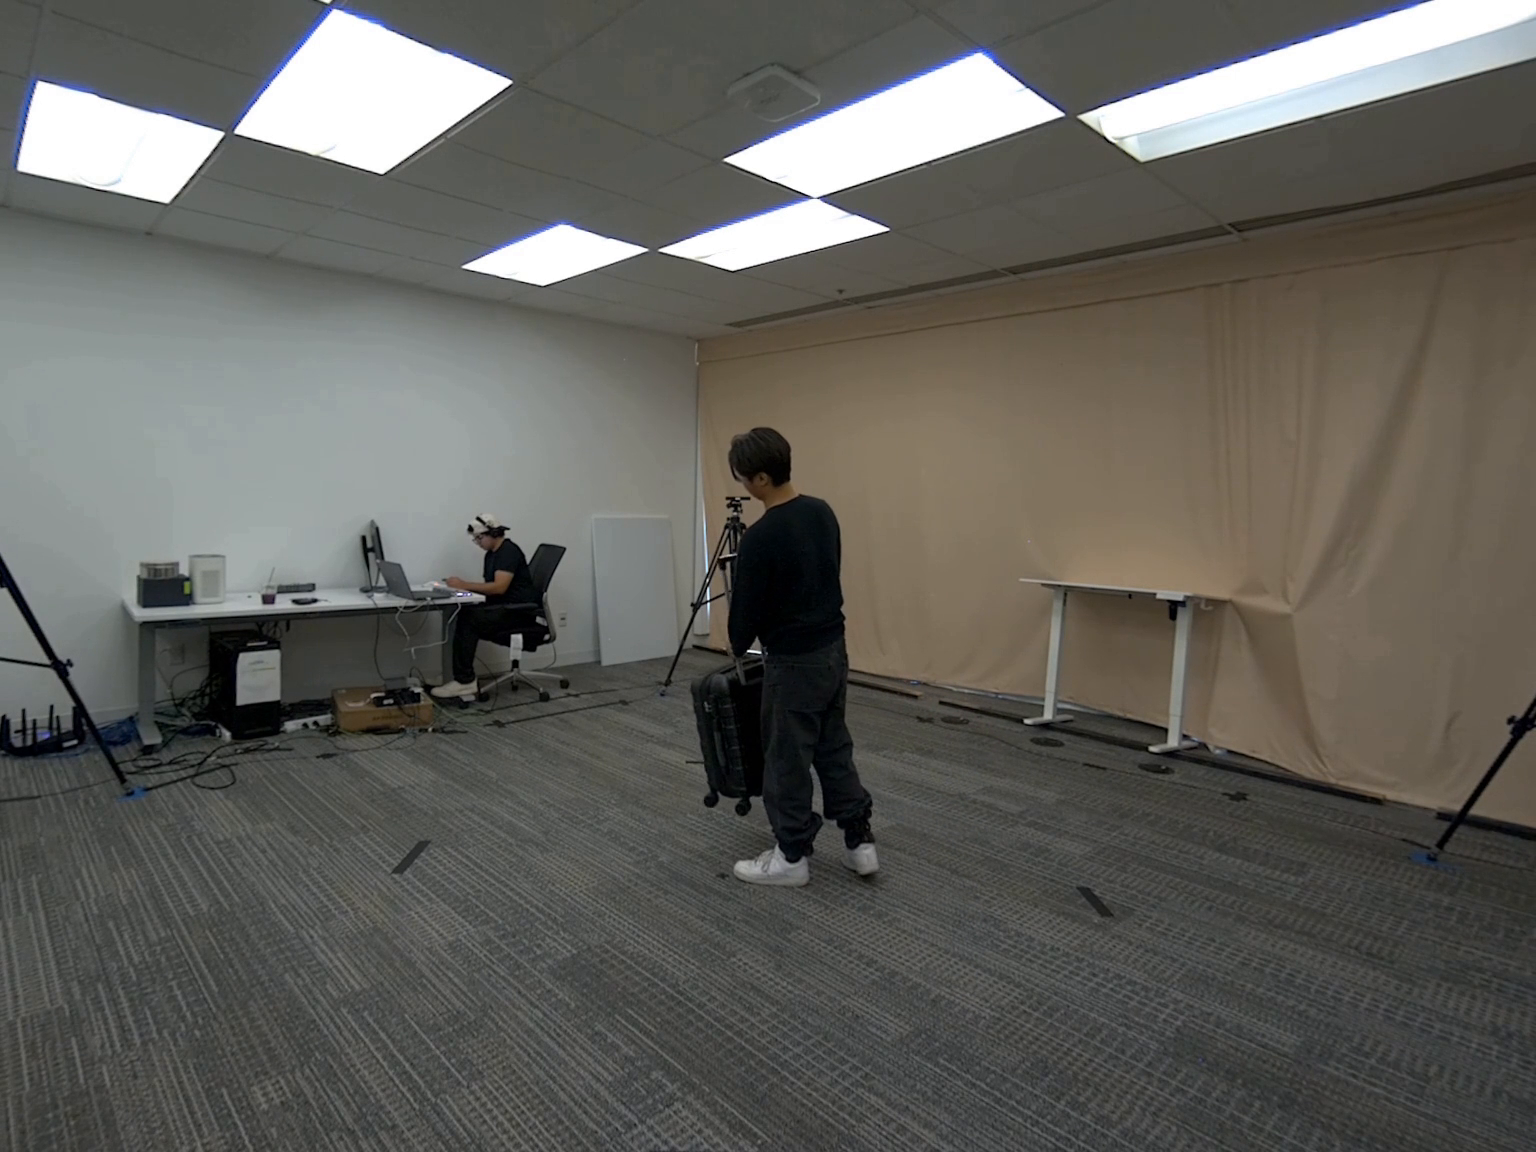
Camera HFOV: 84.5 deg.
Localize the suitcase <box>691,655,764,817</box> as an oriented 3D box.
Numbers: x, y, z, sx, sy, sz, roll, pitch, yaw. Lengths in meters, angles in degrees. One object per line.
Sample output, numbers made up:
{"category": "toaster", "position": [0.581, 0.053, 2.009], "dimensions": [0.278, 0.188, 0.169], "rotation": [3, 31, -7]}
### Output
{"category": "suitcase", "position": [-0.133, 0.420, 3.377], "dimensions": [0.377, 0.977, 0.262], "rotation": [-12, 2, -39]}
